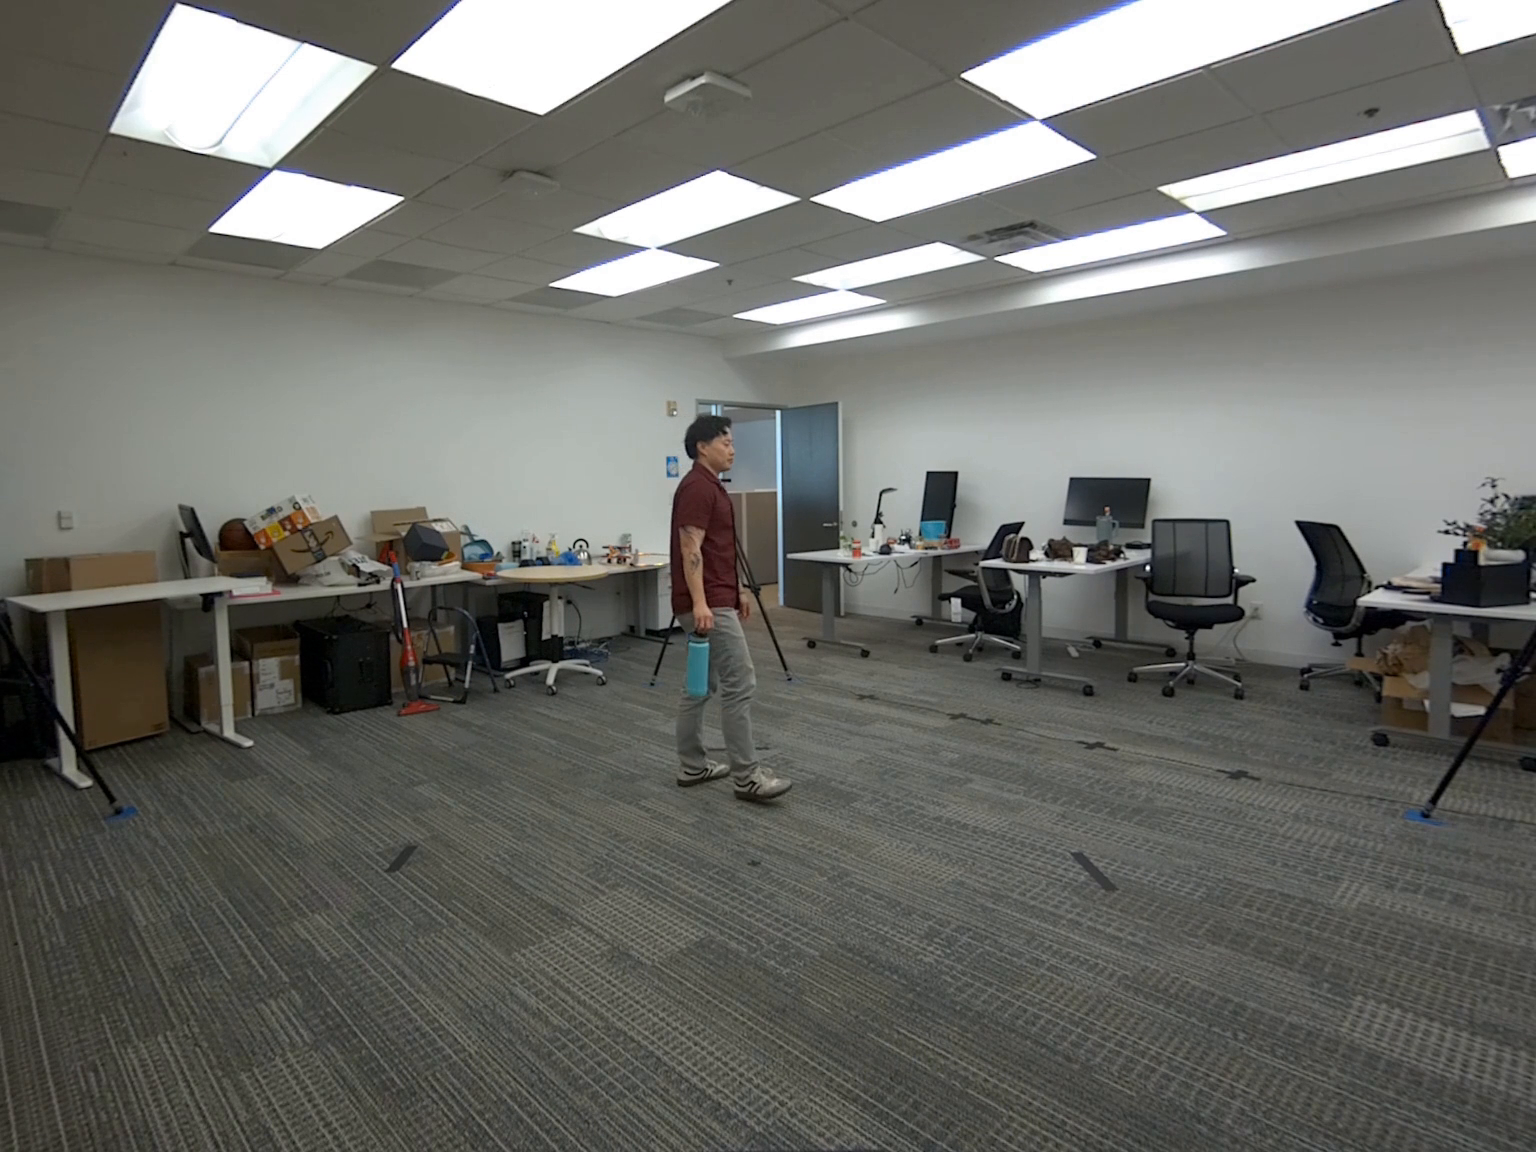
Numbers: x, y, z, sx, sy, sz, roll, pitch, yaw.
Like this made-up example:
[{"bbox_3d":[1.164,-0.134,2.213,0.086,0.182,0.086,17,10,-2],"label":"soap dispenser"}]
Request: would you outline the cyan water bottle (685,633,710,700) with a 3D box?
[{"bbox_3d":[-0.297,0.364,3.596,0.092,0.281,0.093,0,8,-2],"label":"cyan water bottle"}]
